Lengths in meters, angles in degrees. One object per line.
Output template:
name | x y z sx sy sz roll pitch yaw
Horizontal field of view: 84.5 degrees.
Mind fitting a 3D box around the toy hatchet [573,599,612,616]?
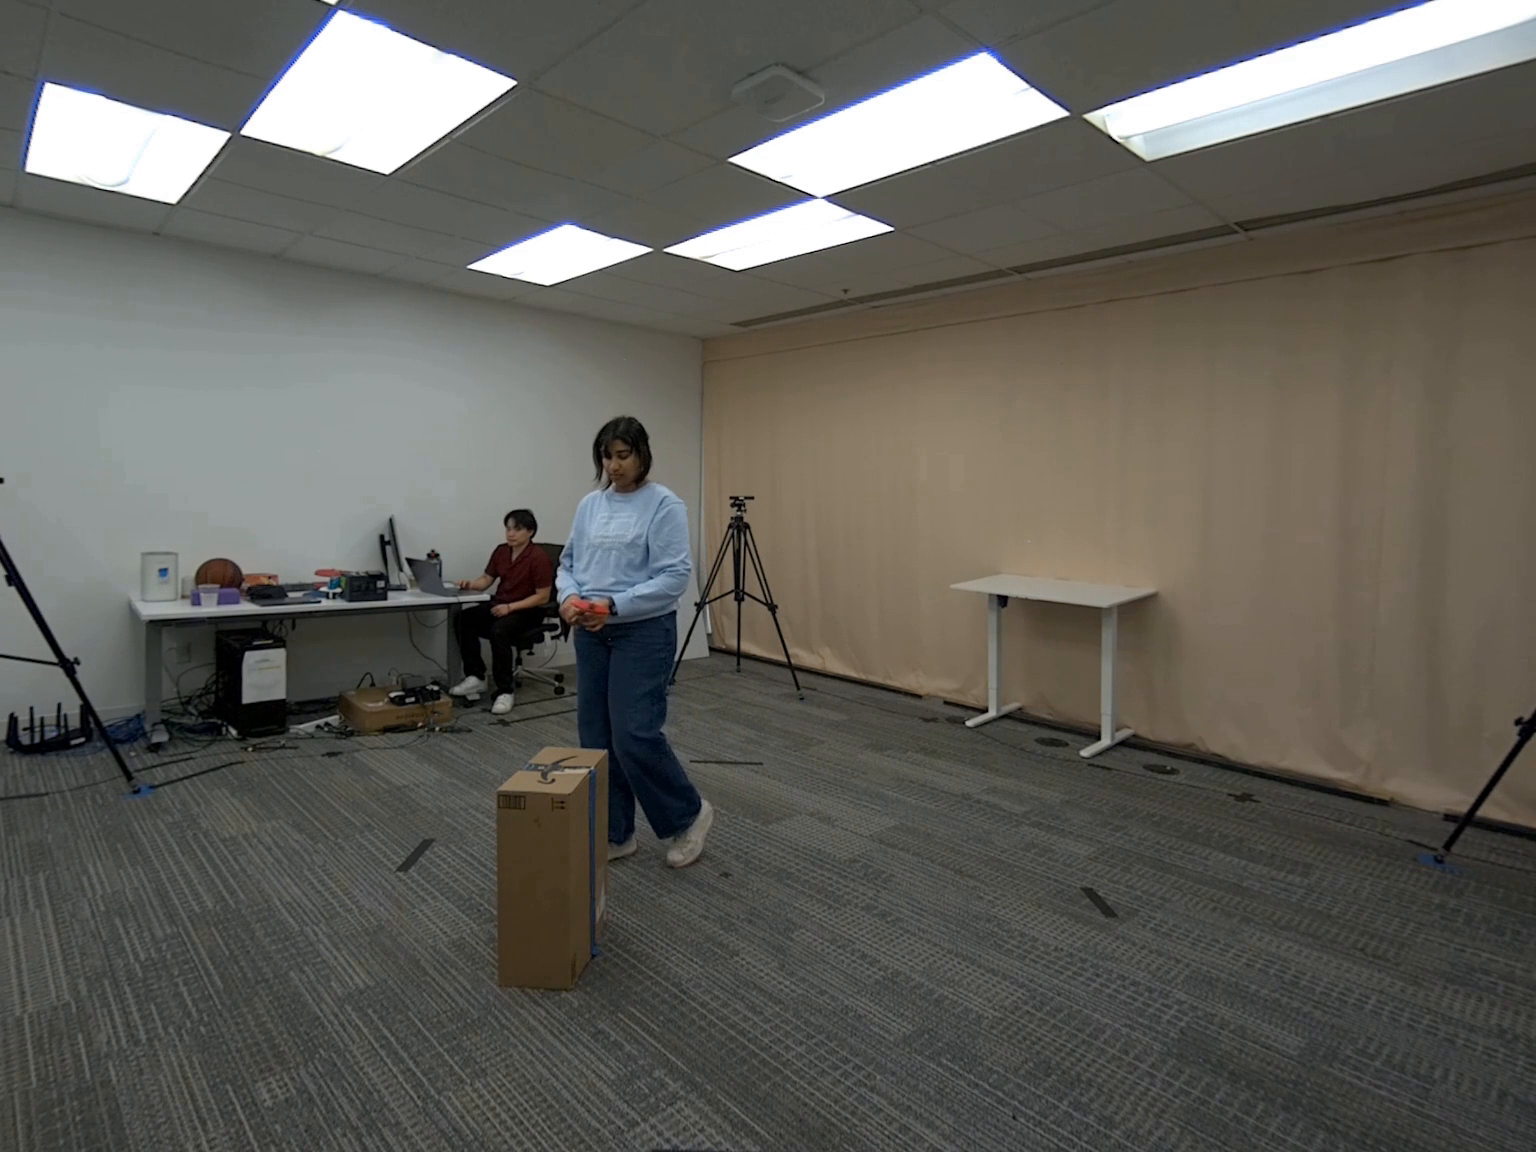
toy hatchet | -0.603 0.124 2.886 0.131 0.030 0.268 9 -13 -2
